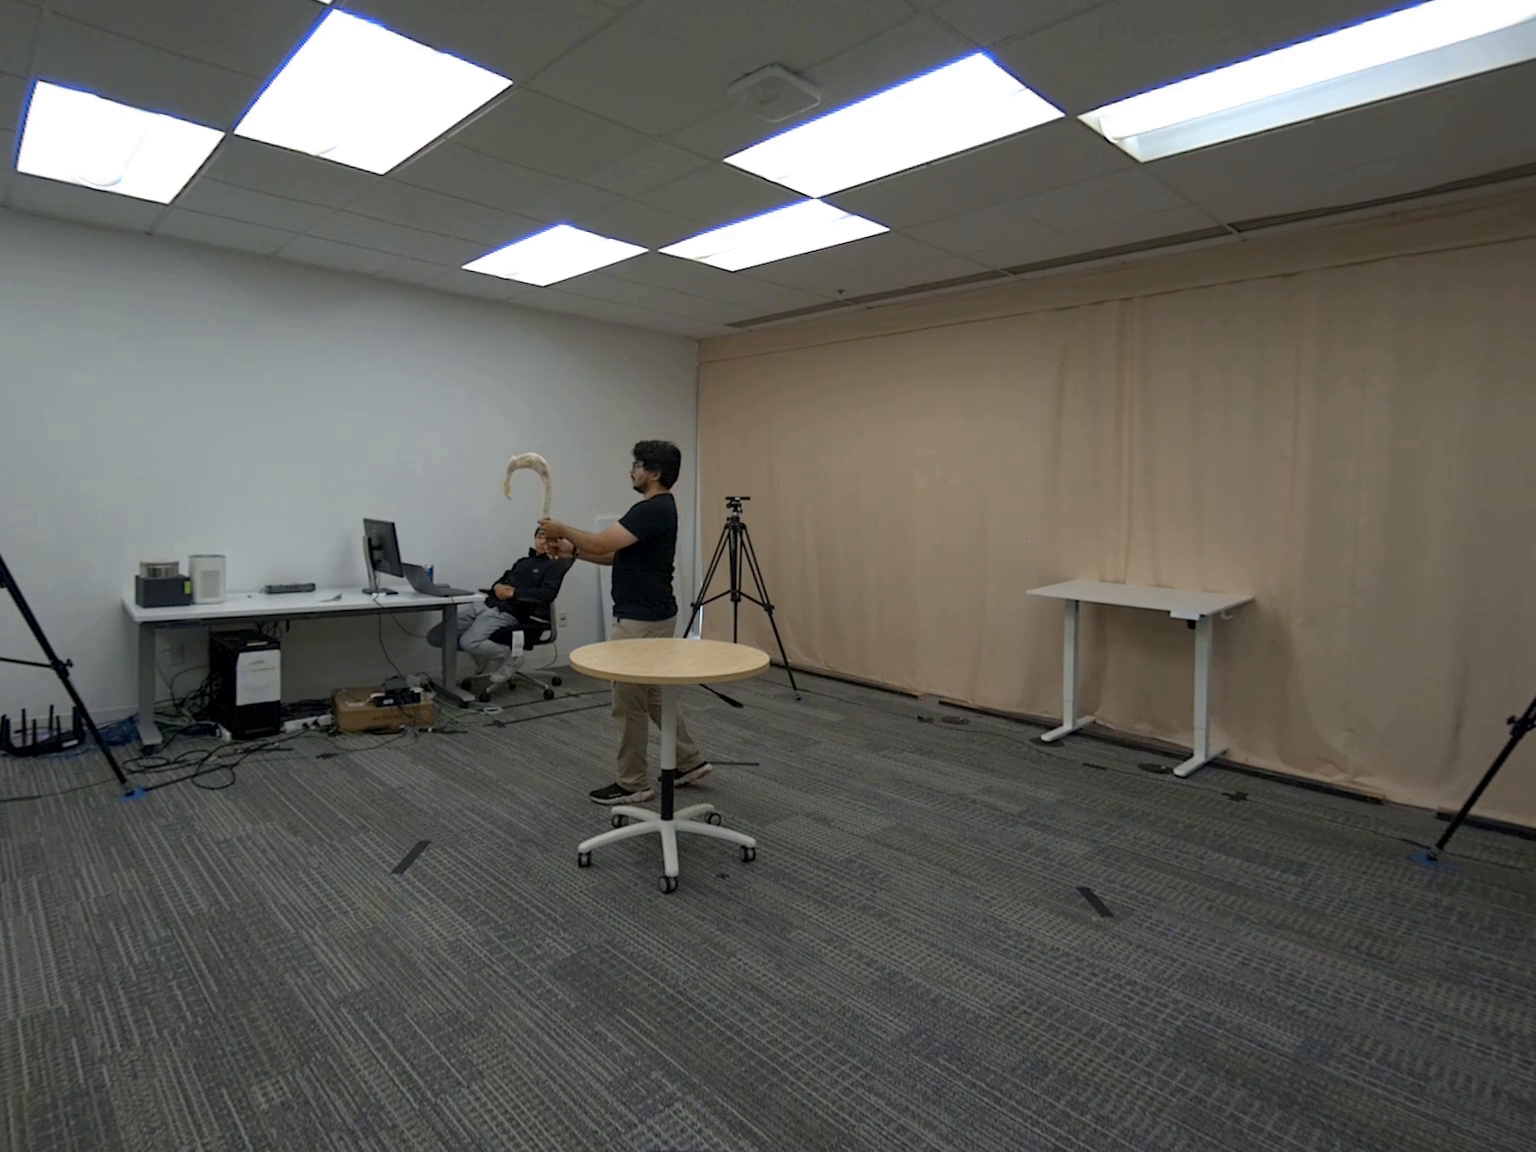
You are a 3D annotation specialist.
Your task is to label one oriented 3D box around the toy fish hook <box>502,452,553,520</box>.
[{"bbox_3d":[-1.090,-0.312,3.883,0.224,0.505,0.048,-12,4,-1],"label":"toy fish hook"}]
